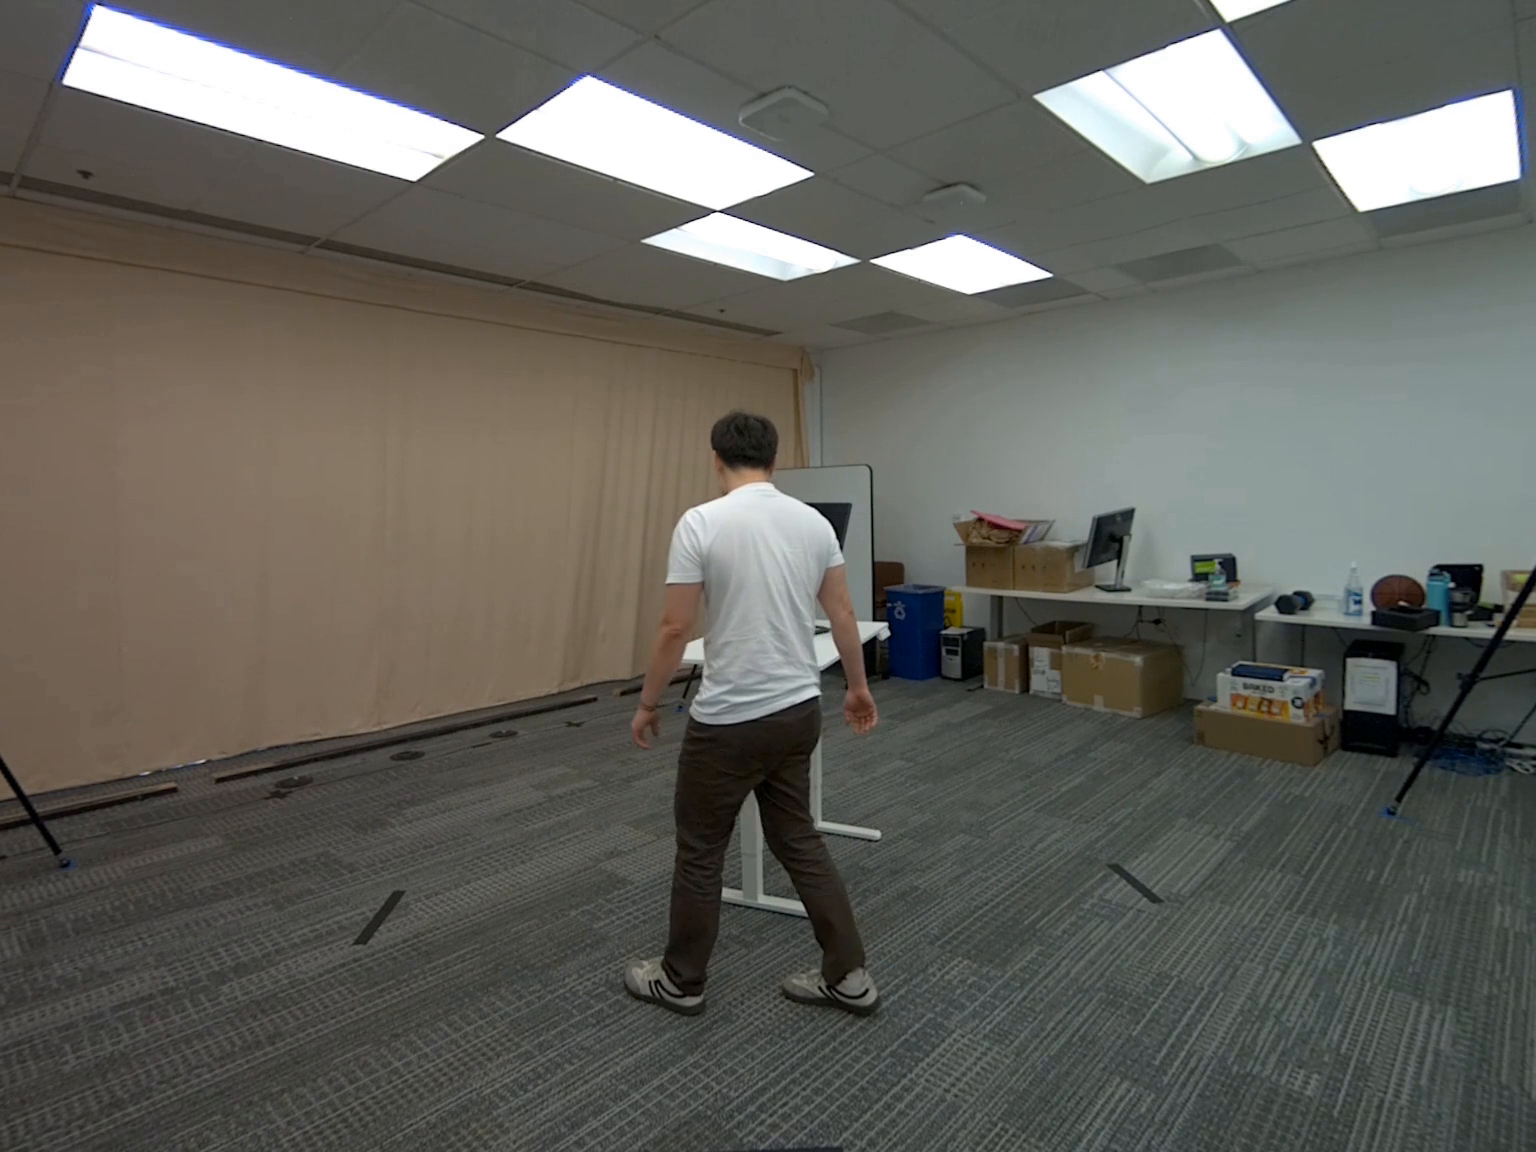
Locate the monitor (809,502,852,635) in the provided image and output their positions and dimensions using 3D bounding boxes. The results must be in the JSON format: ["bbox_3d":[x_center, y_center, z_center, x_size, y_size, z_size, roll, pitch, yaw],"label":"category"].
[{"bbox_3d":[0.112,-0.035,3.390,0.557,0.522,0.181,4,2,44],"label":"monitor"}]
